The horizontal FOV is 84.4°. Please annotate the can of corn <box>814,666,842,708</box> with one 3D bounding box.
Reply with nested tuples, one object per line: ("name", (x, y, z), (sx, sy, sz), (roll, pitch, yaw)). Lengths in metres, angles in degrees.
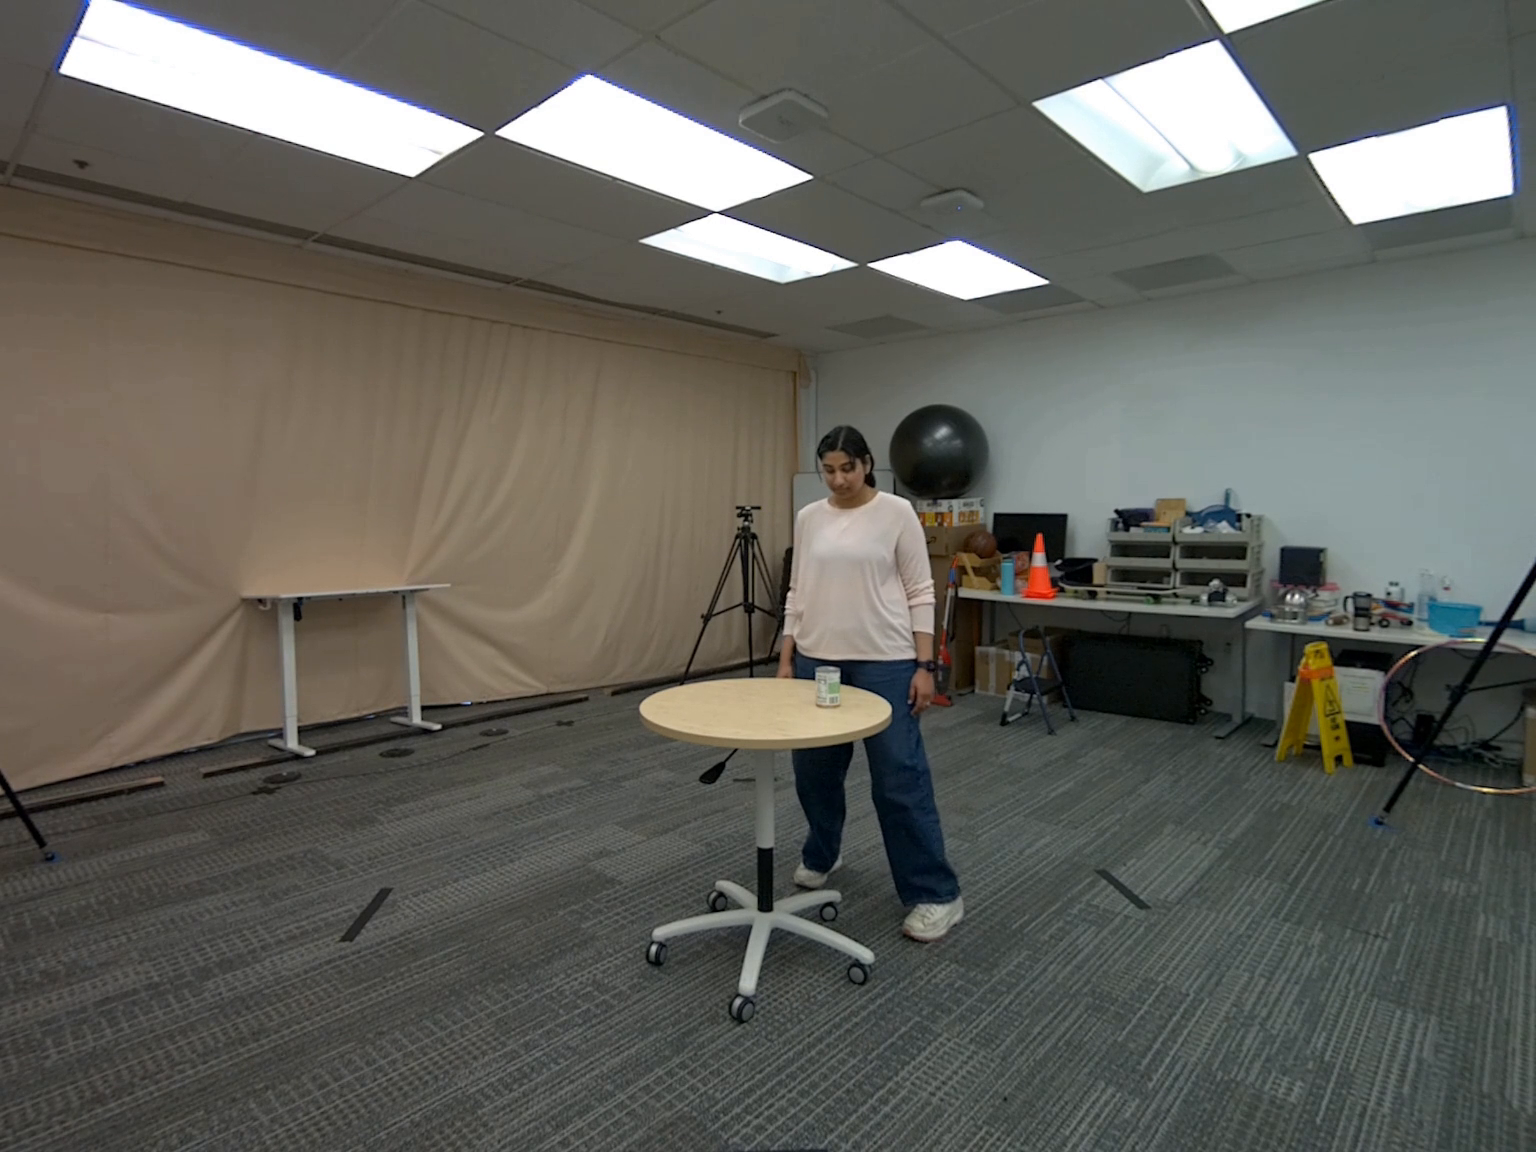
("can of corn", (0.179, 0.340, 2.560), (0.074, 0.111, 0.074), (-1, 5, -2))
